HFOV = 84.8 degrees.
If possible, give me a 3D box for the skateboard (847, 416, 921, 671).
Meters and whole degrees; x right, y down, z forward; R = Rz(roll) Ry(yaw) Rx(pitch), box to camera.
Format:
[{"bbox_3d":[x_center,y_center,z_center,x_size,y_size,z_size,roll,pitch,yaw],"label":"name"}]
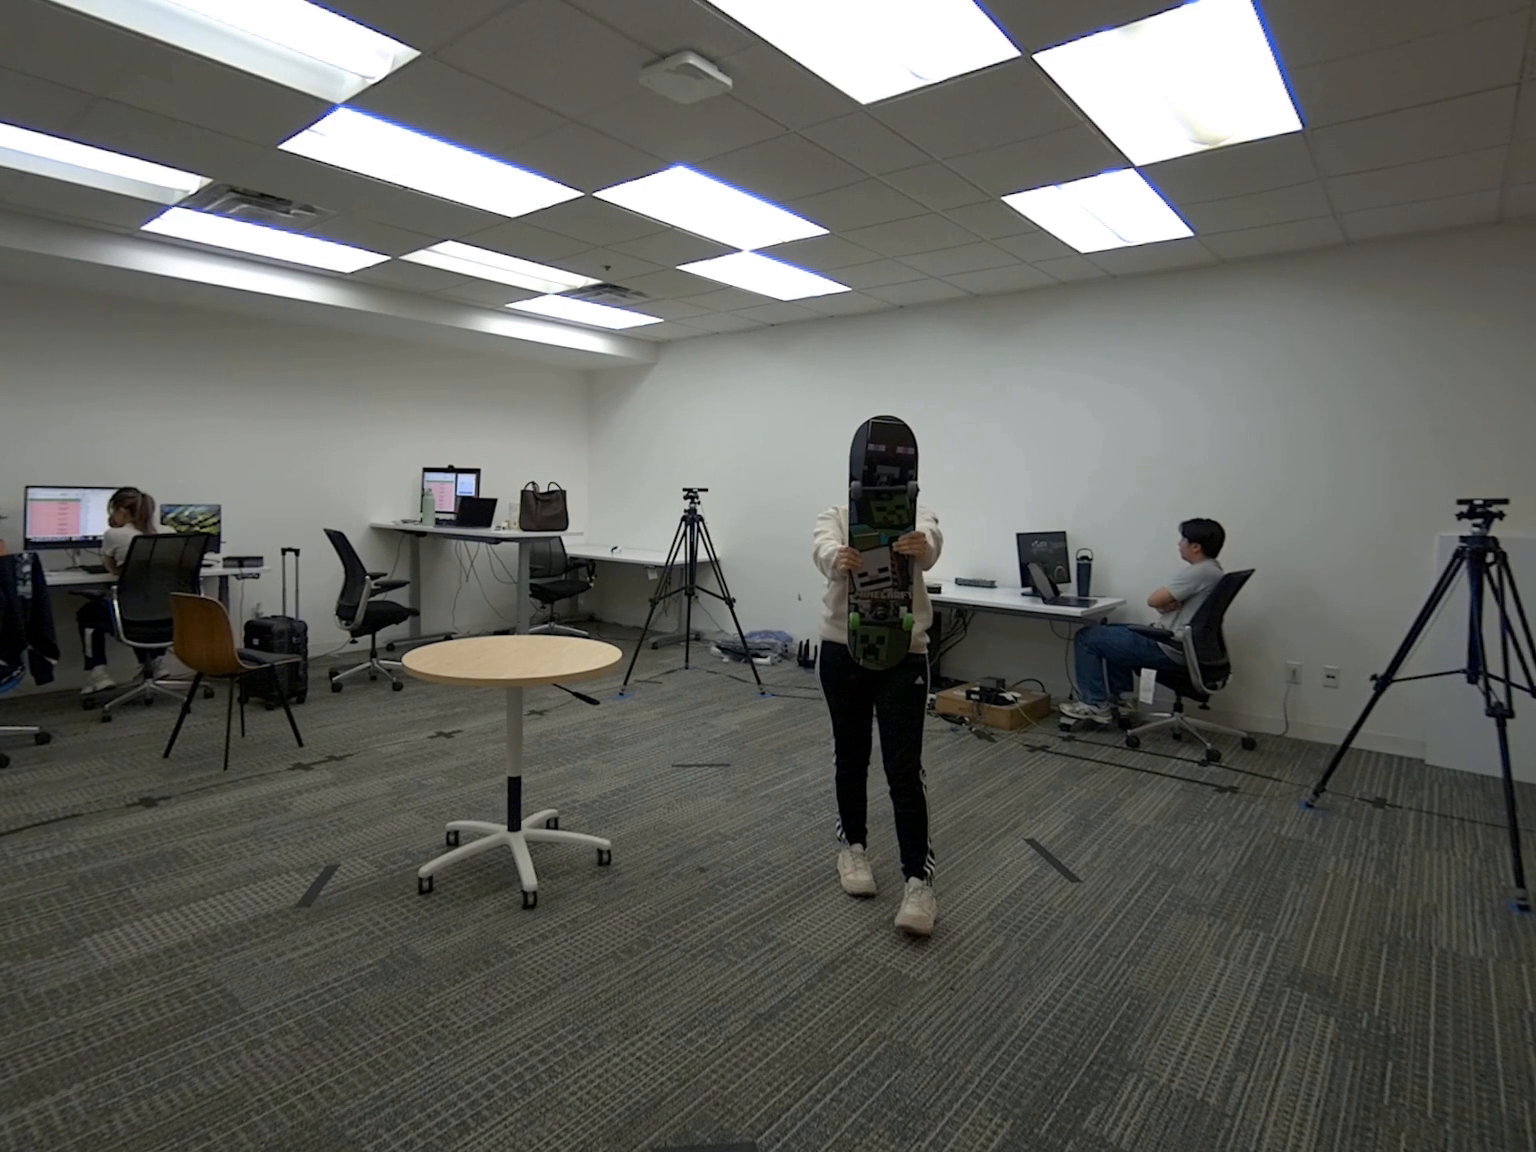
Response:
[{"bbox_3d":[0.331,-0.068,2.442,0.194,0.773,0.112,1,16,2],"label":"skateboard"}]
